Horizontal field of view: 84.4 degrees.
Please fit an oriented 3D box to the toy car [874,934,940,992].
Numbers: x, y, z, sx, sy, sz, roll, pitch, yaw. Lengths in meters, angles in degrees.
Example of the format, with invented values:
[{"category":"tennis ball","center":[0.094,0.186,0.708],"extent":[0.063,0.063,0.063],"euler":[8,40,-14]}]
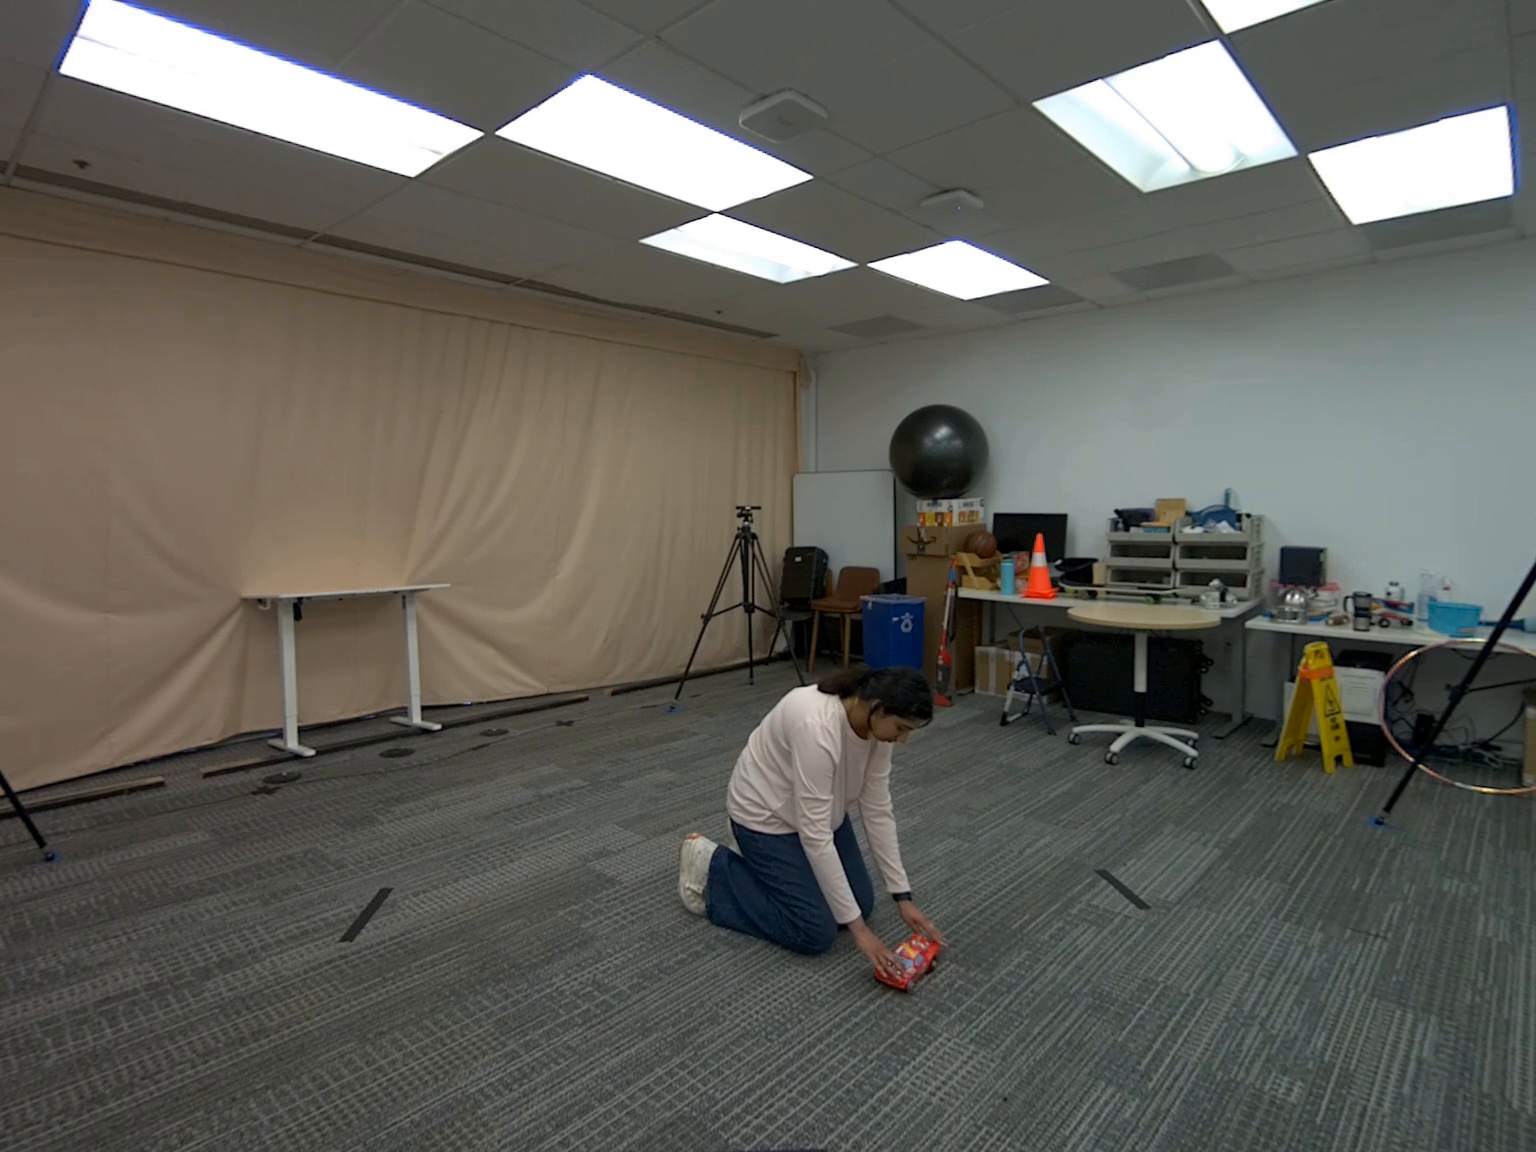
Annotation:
[{"category":"toy car","center":[0.426,1.148,2.512],"extent":[0.135,0.082,0.248],"euler":[6,18,40]}]
